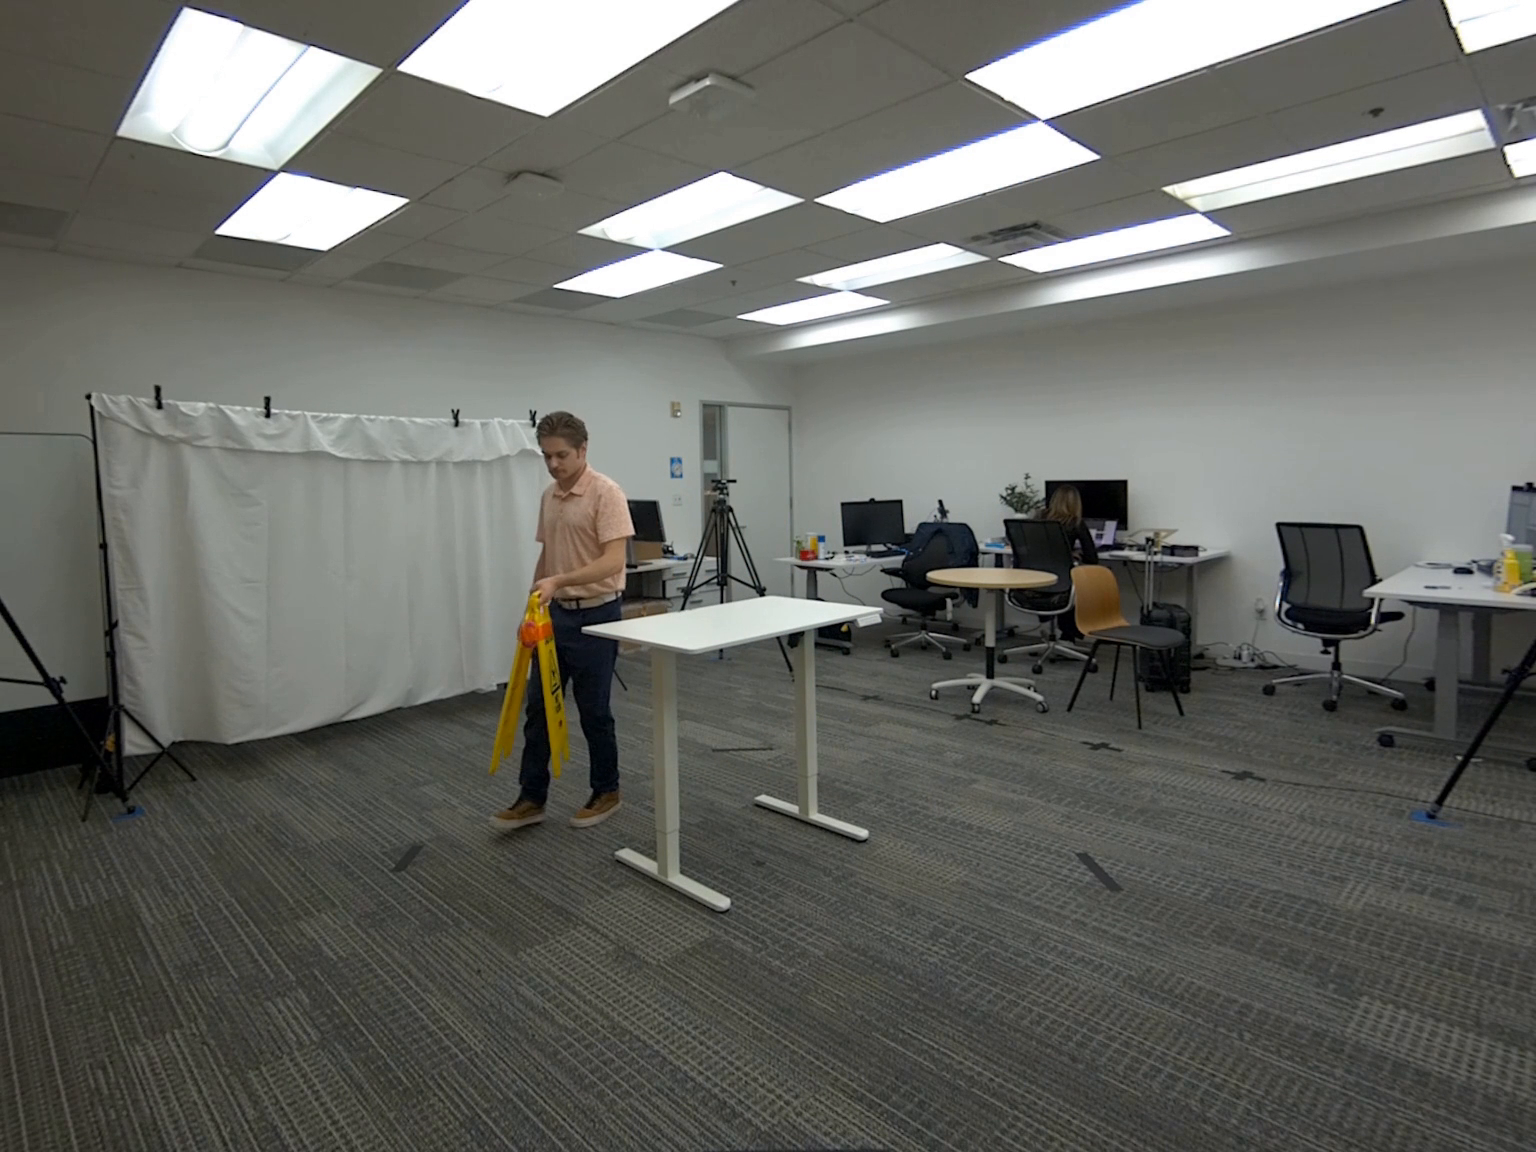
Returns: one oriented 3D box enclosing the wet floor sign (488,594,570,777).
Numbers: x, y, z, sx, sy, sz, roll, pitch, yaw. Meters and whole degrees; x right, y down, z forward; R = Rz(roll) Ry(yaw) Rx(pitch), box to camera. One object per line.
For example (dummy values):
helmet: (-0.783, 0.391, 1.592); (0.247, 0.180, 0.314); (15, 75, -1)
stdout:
wet floor sign: (-0.877, 0.384, 3.167); (0.289, 0.646, 0.282); (3, 1, -1)
